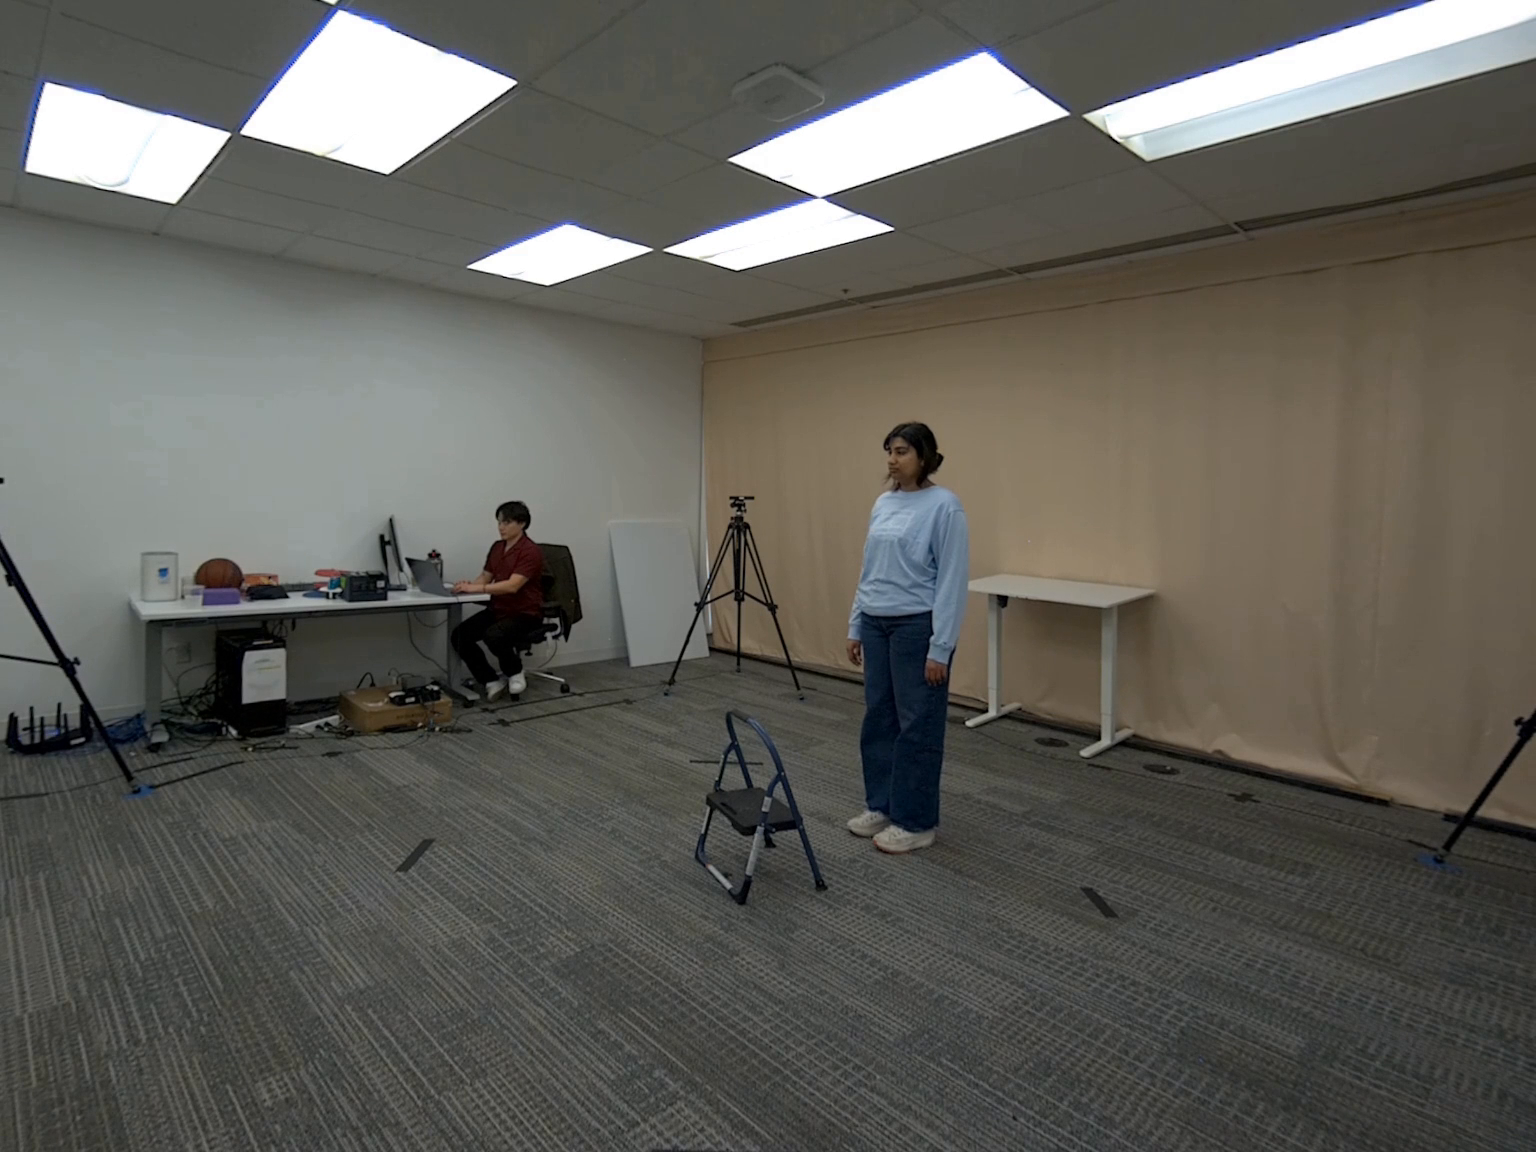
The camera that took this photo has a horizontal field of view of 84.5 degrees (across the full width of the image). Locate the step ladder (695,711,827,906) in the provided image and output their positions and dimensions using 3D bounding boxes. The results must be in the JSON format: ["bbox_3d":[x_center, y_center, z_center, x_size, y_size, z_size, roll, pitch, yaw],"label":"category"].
[{"bbox_3d":[-0.036,0.799,3.114,0.343,0.605,0.439,0,3,-27],"label":"step ladder"}]
